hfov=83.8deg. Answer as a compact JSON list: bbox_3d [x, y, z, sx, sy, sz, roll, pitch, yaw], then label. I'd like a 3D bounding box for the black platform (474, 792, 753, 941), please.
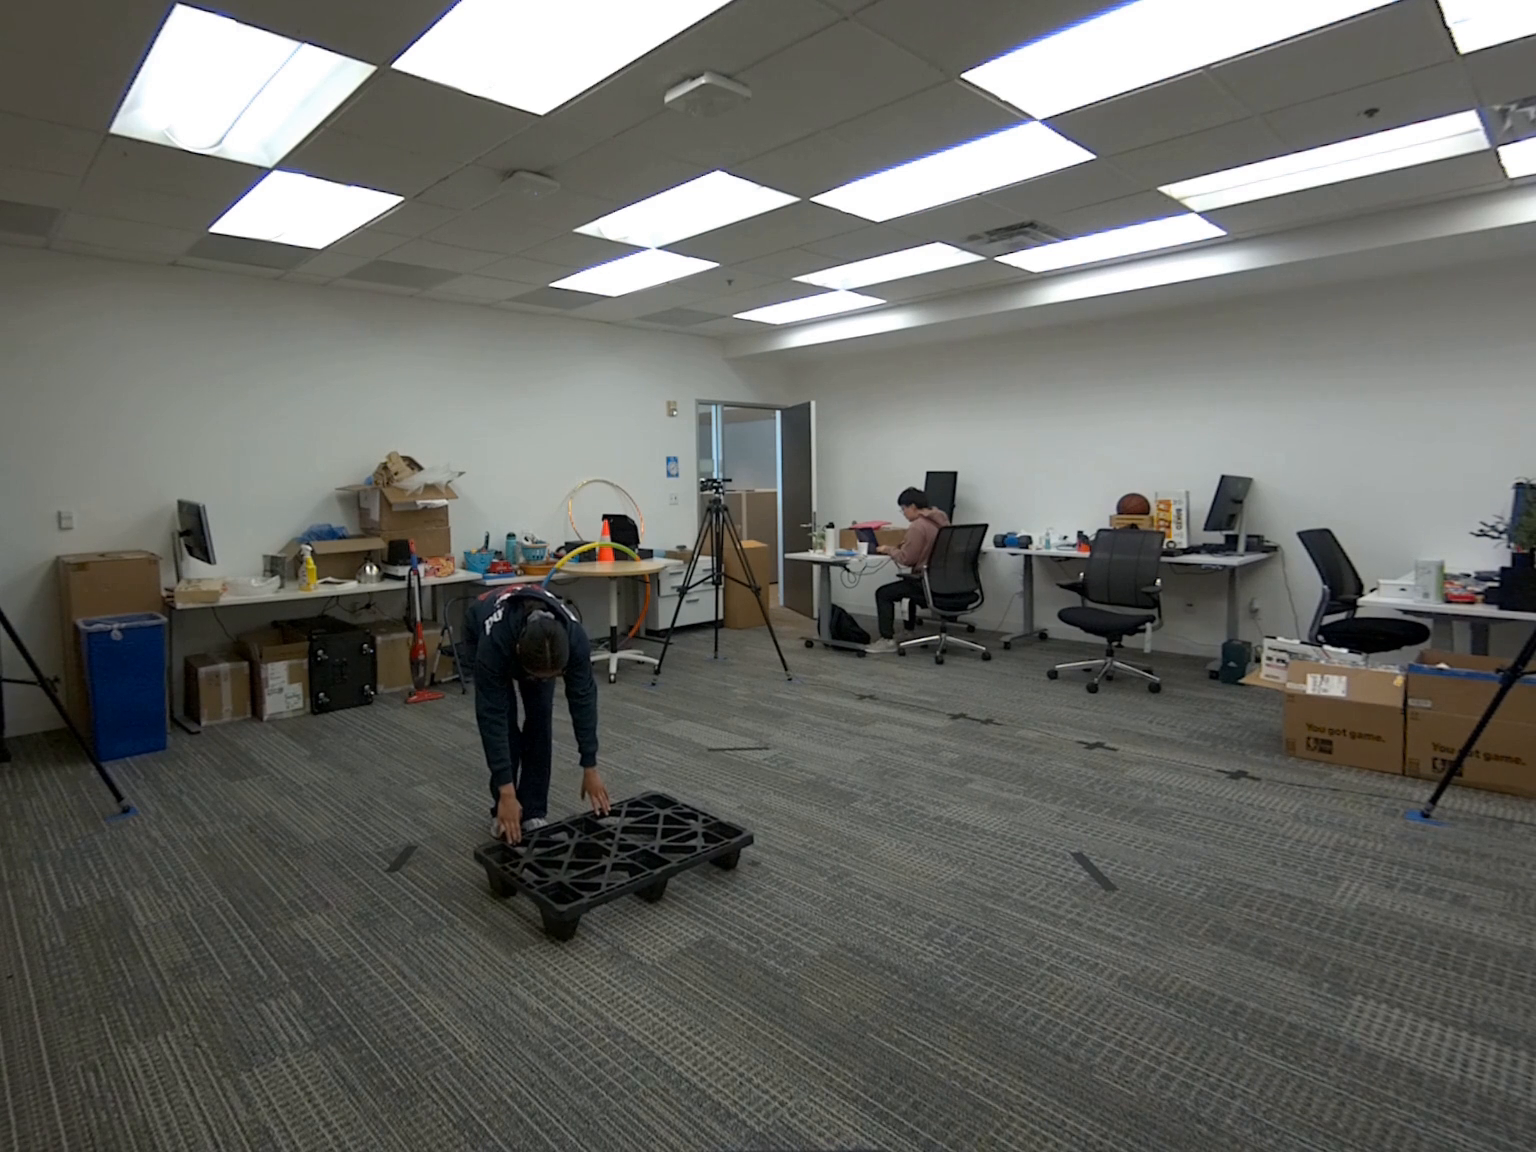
[{"bbox_3d":[-0.537,0.998,3.008,0.785,0.143,0.624,-7,8,-42],"label":"black platform"}]
